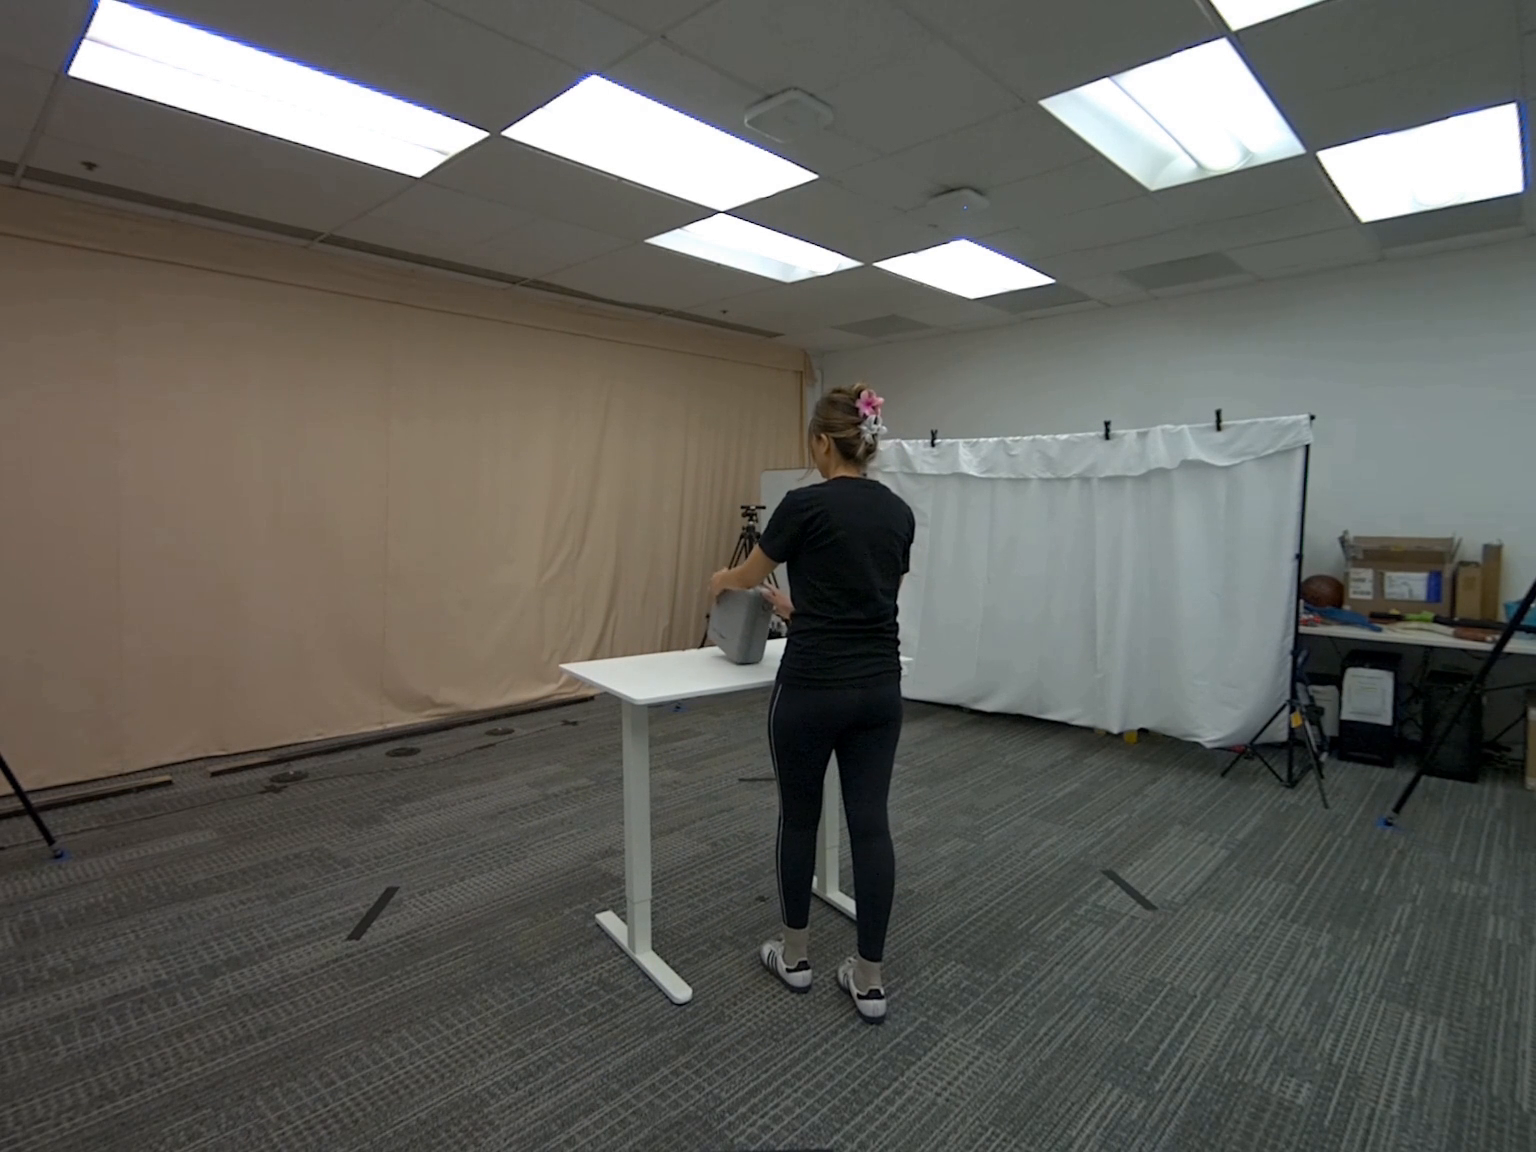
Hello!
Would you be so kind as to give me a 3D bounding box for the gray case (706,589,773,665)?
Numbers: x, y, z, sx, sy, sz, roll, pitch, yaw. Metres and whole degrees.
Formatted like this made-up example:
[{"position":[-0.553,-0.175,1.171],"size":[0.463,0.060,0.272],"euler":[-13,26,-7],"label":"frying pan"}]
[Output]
[{"position":[-0.092,0.130,2.771],"size":[0.102,0.259,0.264],"euler":[2,14,-23],"label":"gray case"}]
